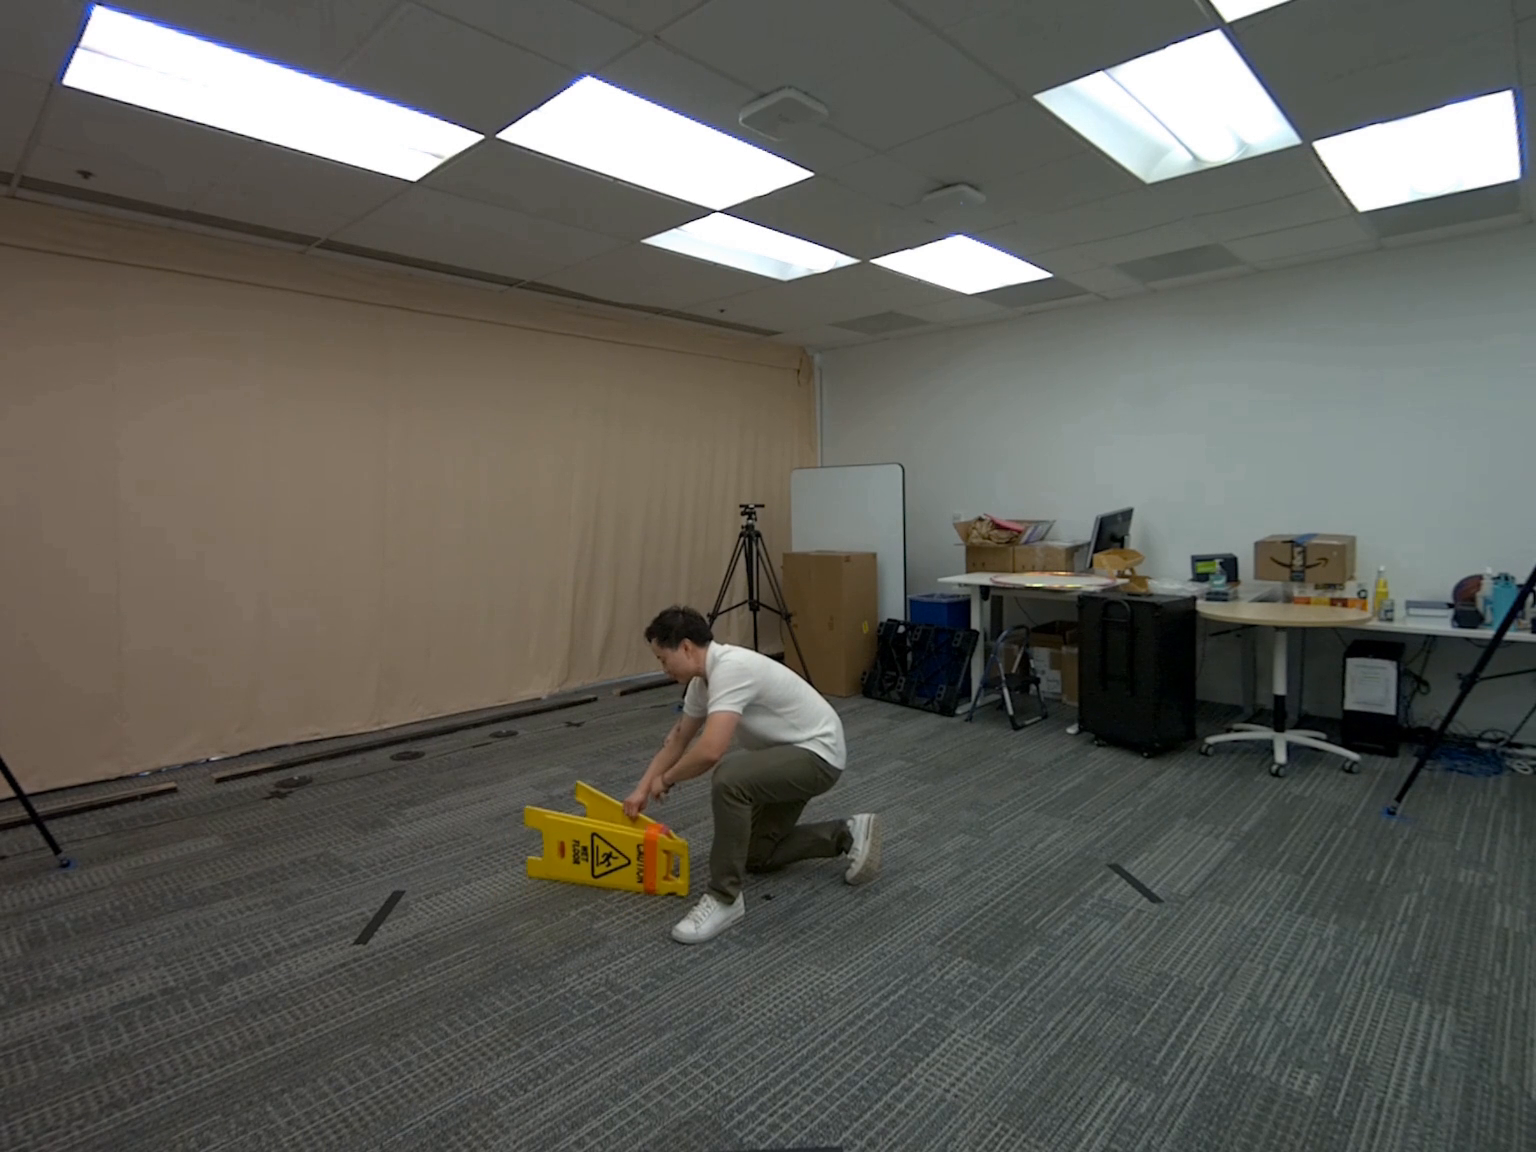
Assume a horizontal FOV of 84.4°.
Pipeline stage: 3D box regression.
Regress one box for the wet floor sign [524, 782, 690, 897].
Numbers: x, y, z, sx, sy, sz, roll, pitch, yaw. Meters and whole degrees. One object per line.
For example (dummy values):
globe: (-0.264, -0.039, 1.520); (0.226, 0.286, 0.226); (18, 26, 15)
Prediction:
wet floor sign: (-0.561, 1.012, 3.150); (0.665, 0.281, 0.283); (6, 9, 30)
